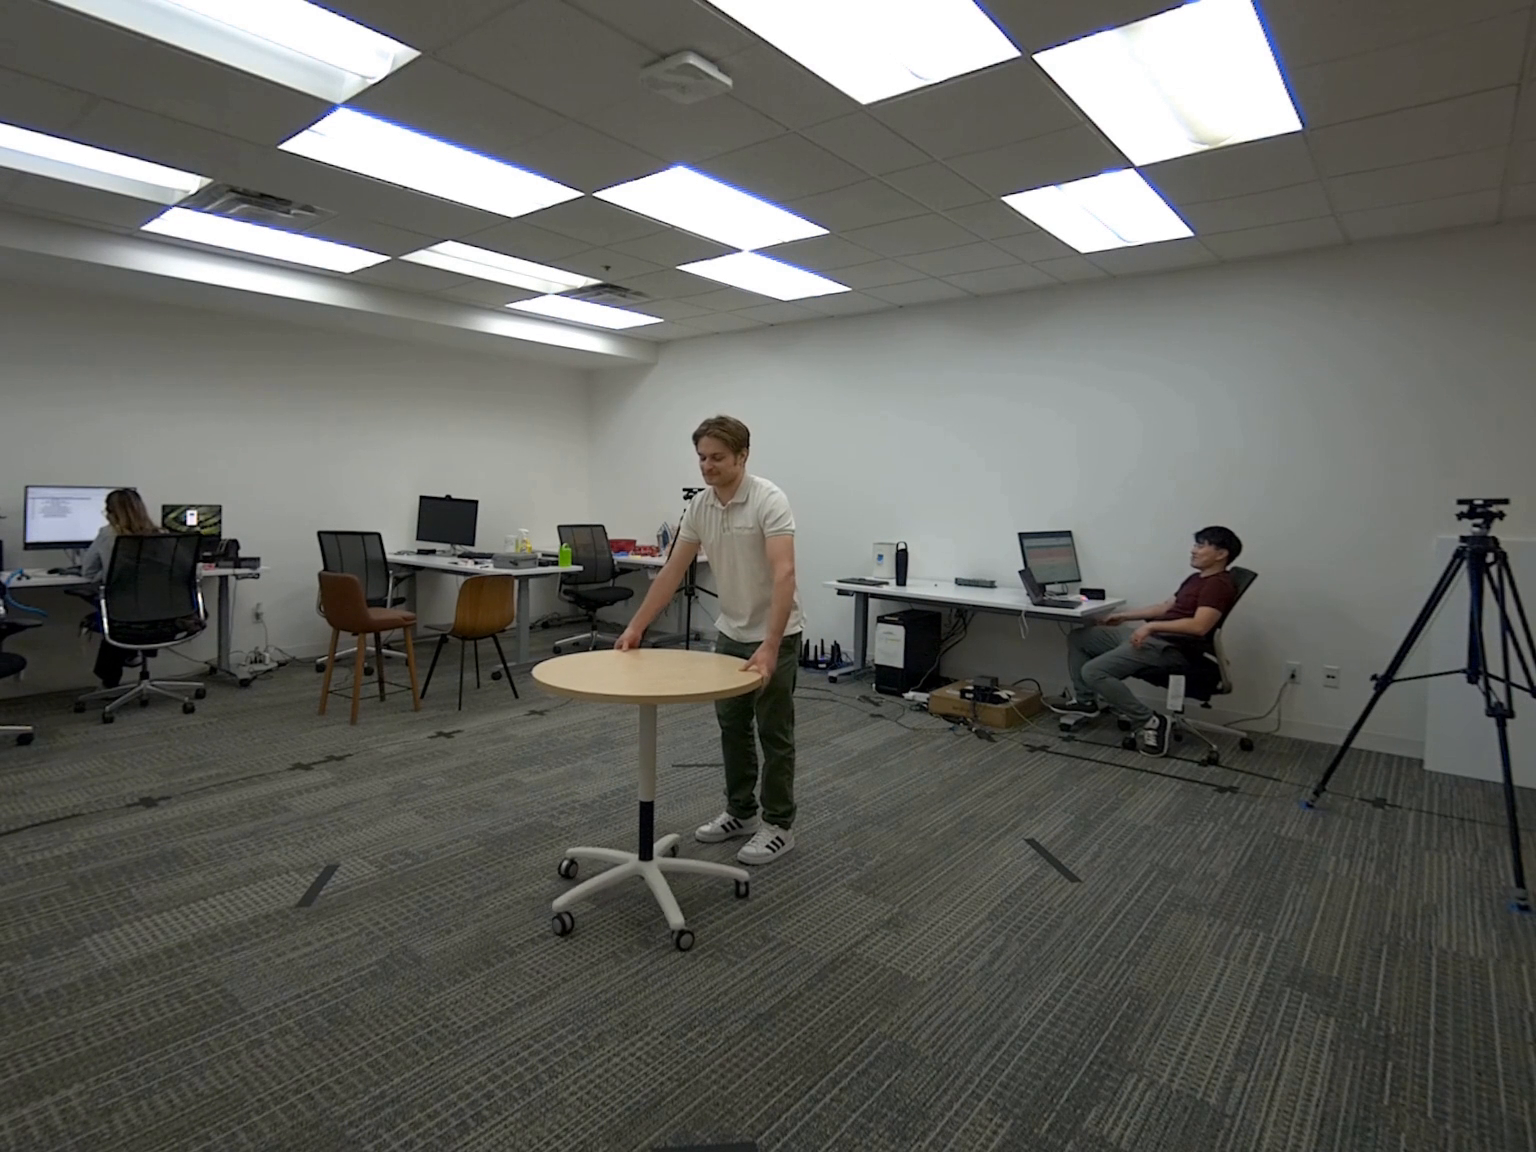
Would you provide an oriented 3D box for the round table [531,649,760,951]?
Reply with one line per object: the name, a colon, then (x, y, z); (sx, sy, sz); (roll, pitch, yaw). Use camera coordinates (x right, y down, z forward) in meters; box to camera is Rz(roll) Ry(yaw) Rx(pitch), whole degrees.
round table: (-0.415, 0.703, 2.850); (0.763, 0.792, 0.767); (1, 4, -2)
